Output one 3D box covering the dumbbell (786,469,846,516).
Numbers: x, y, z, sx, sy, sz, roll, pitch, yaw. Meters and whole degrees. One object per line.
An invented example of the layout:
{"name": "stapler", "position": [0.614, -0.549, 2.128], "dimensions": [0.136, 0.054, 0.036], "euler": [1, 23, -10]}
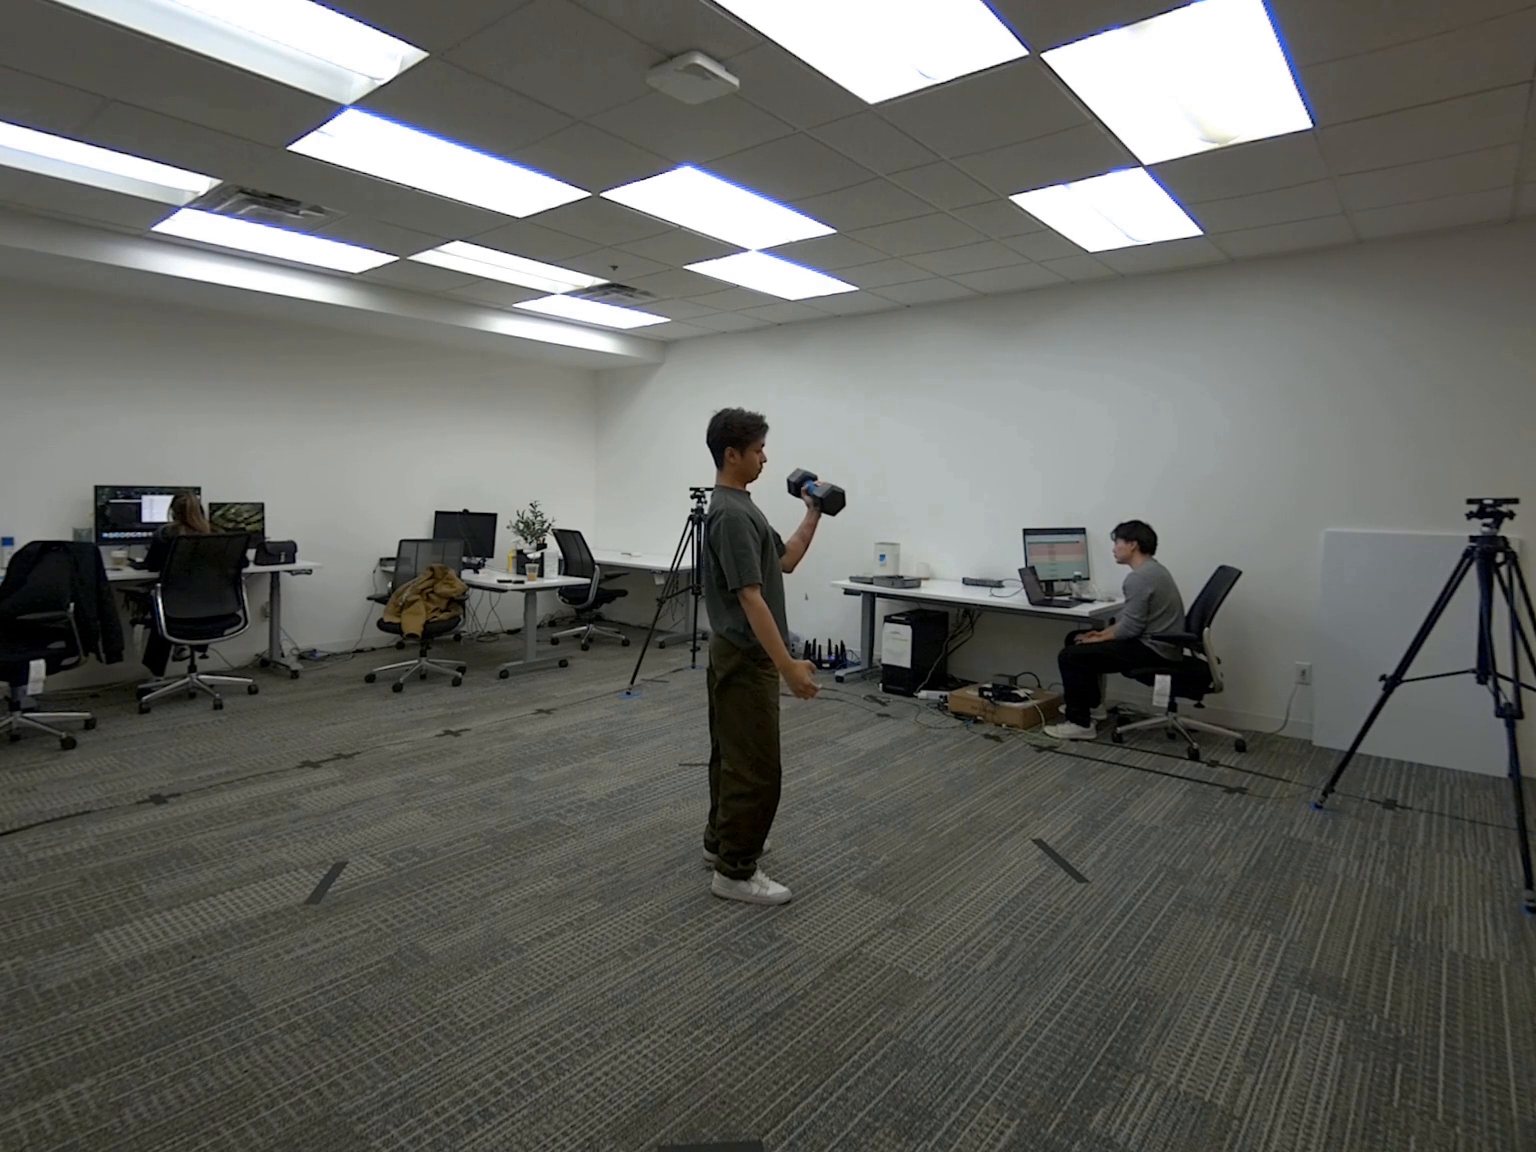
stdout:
{"name": "dumbbell", "position": [0.178, -0.322, 3.246], "dimensions": [0.119, 0.108, 0.305], "euler": [16, 12, -31]}
